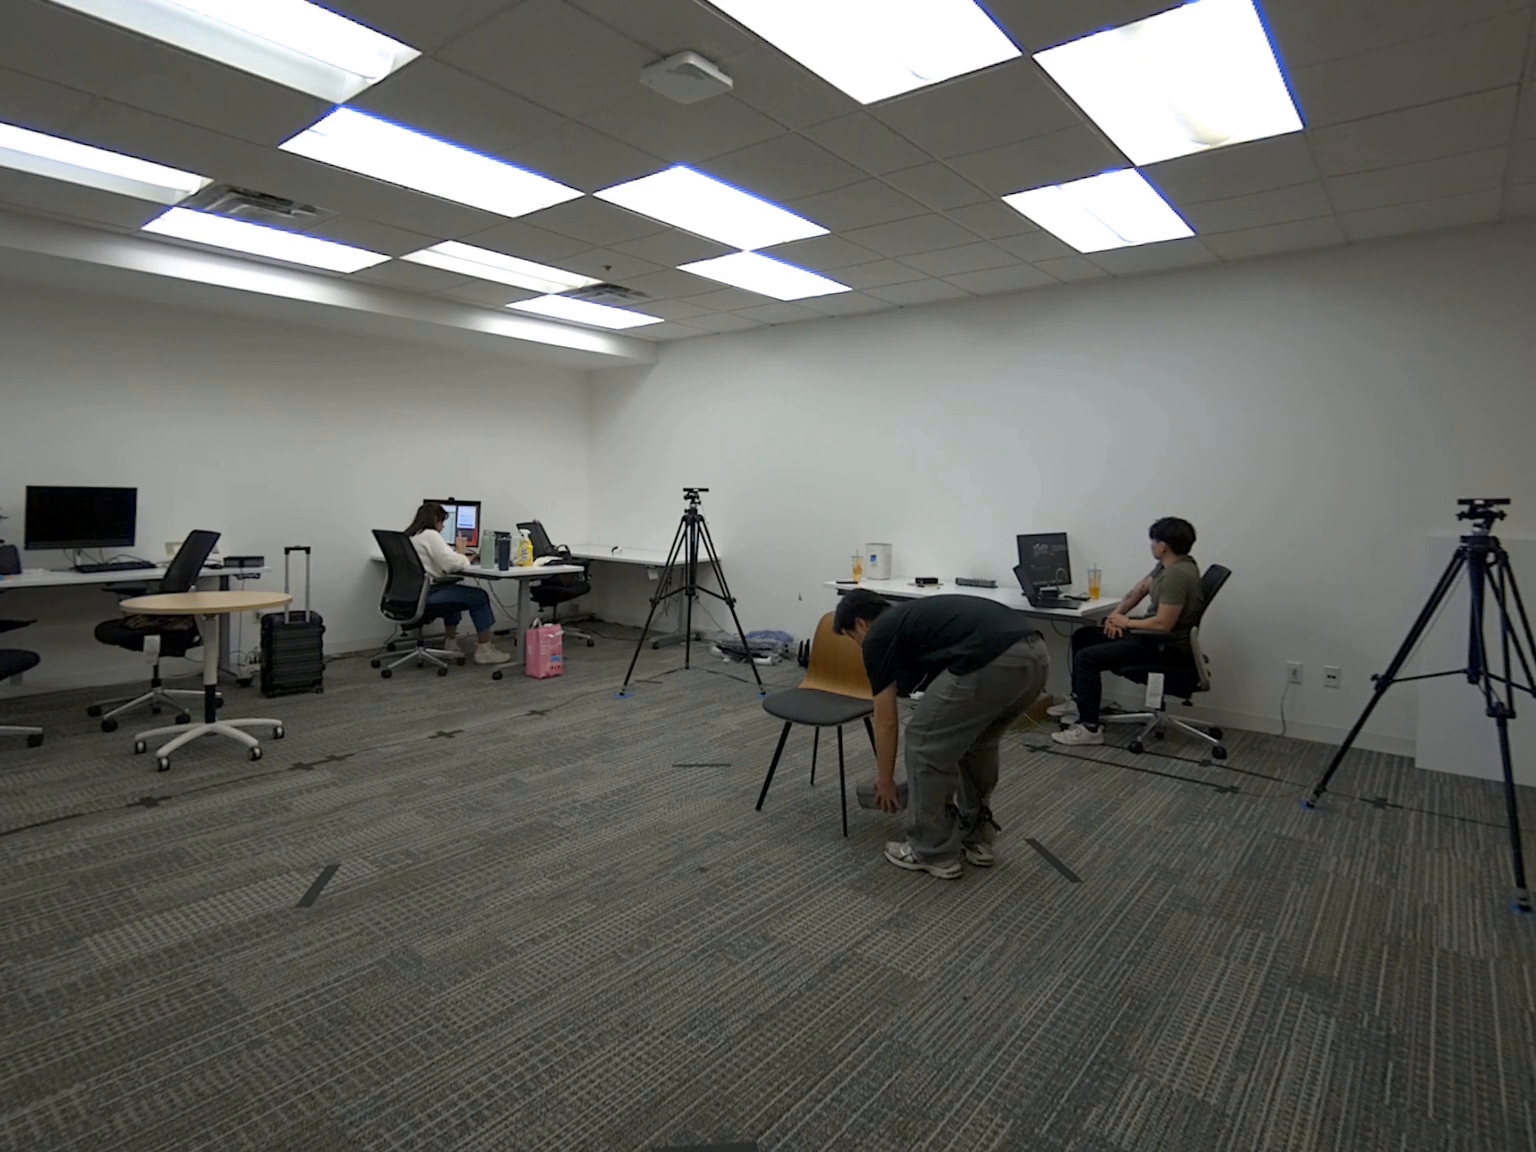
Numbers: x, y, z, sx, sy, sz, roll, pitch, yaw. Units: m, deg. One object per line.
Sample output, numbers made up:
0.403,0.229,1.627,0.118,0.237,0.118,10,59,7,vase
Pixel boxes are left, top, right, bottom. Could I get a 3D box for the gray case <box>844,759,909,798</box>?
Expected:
0.512,0.835,3.483,0.257,0.104,0.291,-6,-10,-29,gray case
